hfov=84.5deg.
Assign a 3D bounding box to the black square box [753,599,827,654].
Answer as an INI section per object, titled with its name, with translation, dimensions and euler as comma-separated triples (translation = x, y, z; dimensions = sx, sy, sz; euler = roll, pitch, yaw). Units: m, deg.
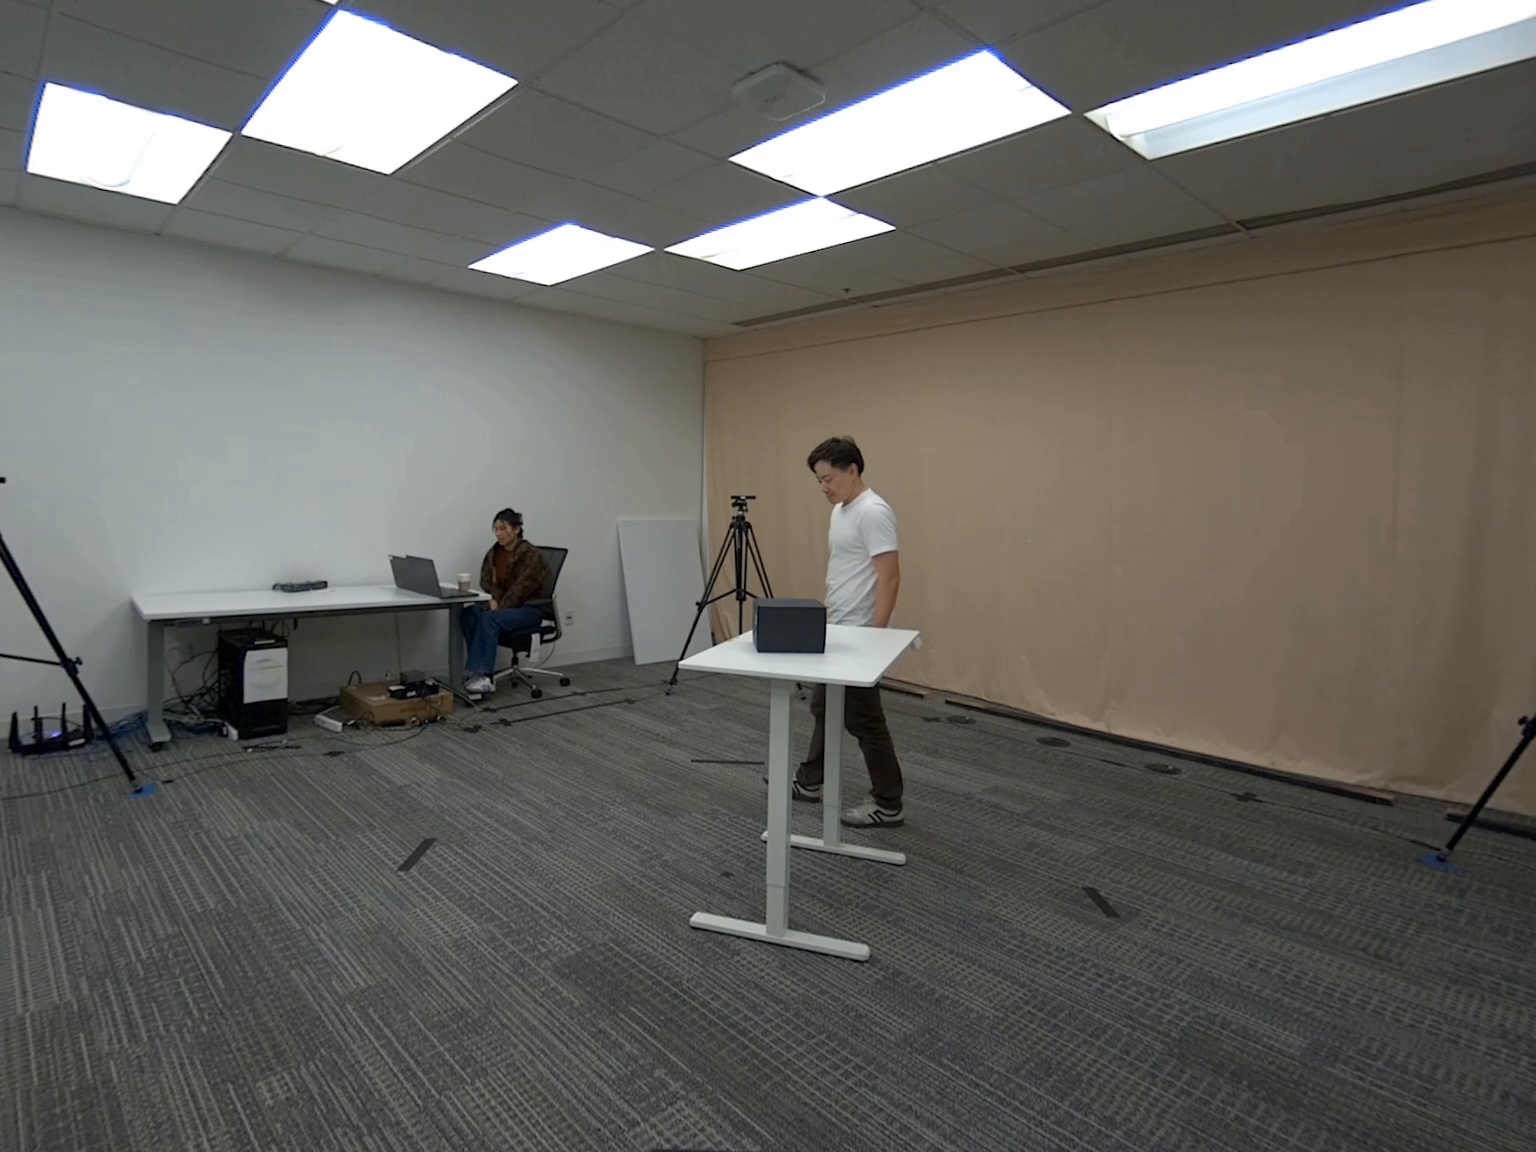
[black square box]
translation = 0.058, 0.164, 2.887
dimensions = 0.228, 0.155, 0.217
euler = 1, 3, 0
